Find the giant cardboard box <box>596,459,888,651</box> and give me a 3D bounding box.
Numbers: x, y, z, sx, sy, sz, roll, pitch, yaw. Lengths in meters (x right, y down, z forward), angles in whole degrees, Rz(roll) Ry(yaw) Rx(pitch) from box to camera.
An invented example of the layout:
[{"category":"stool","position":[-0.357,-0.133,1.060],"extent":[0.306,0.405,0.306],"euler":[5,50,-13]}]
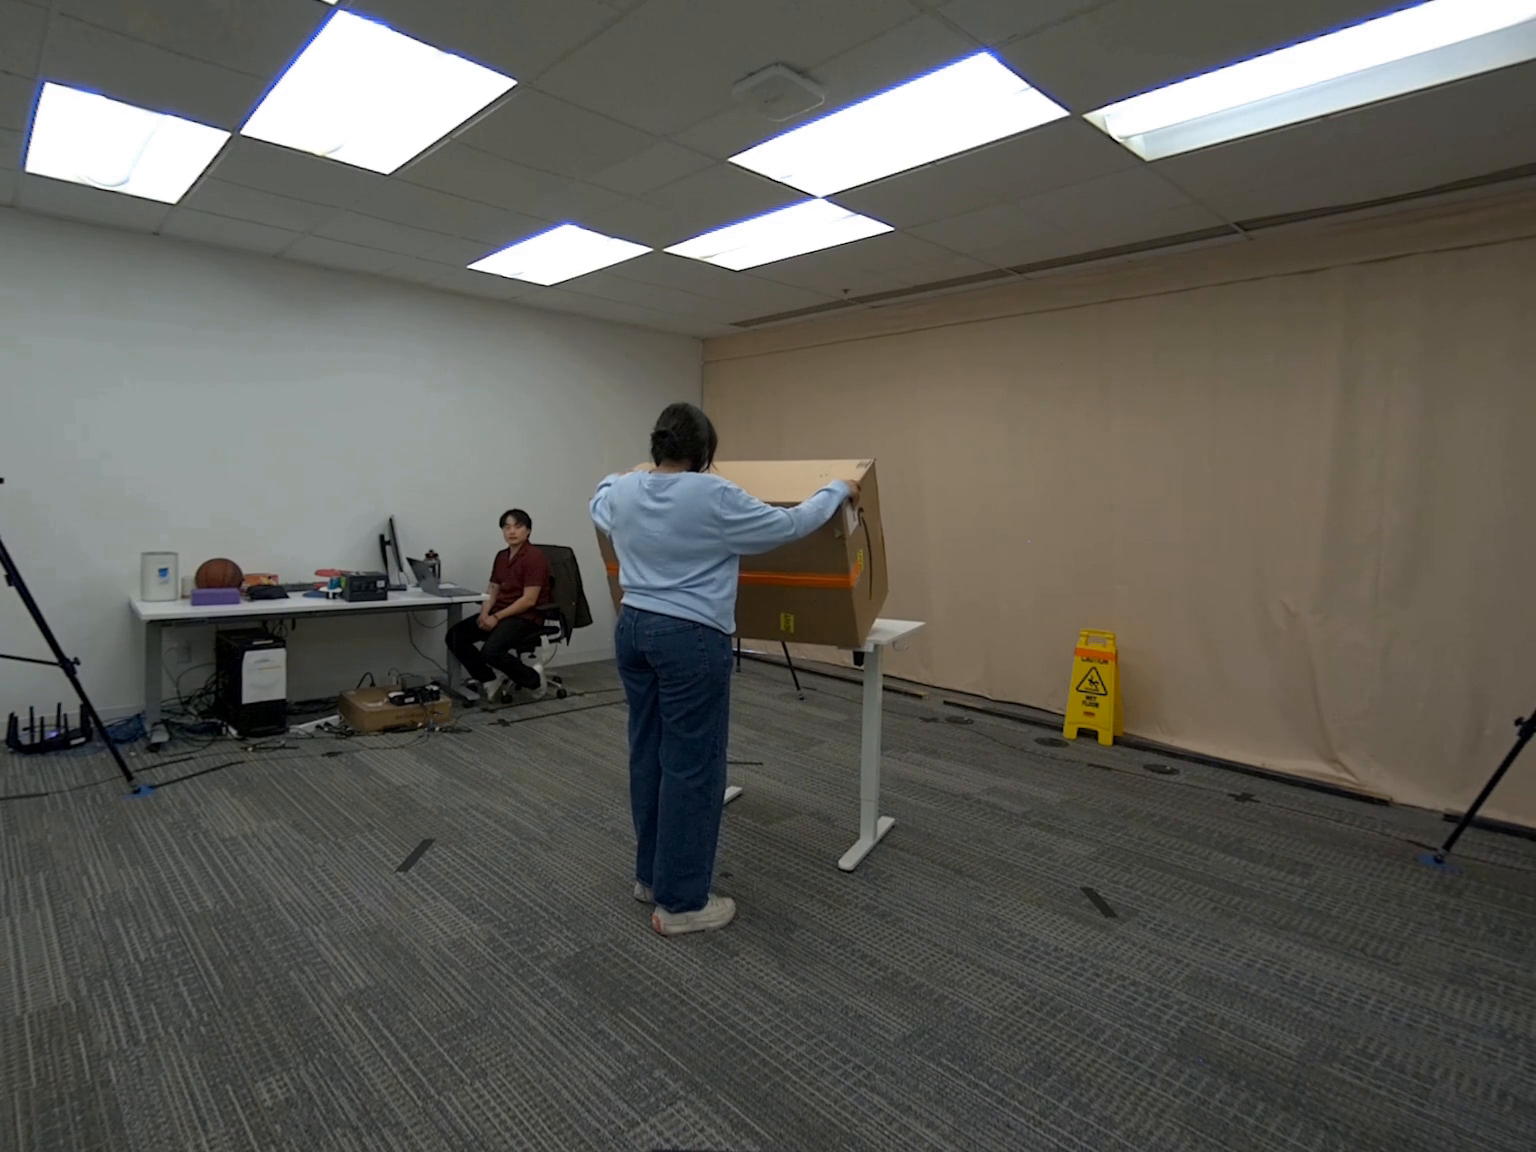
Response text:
[{"category":"giant cardboard box","position":[-0.102,-0.109,3.303],"extent":[1.046,0.566,0.426],"euler":[3,28,26]}]
